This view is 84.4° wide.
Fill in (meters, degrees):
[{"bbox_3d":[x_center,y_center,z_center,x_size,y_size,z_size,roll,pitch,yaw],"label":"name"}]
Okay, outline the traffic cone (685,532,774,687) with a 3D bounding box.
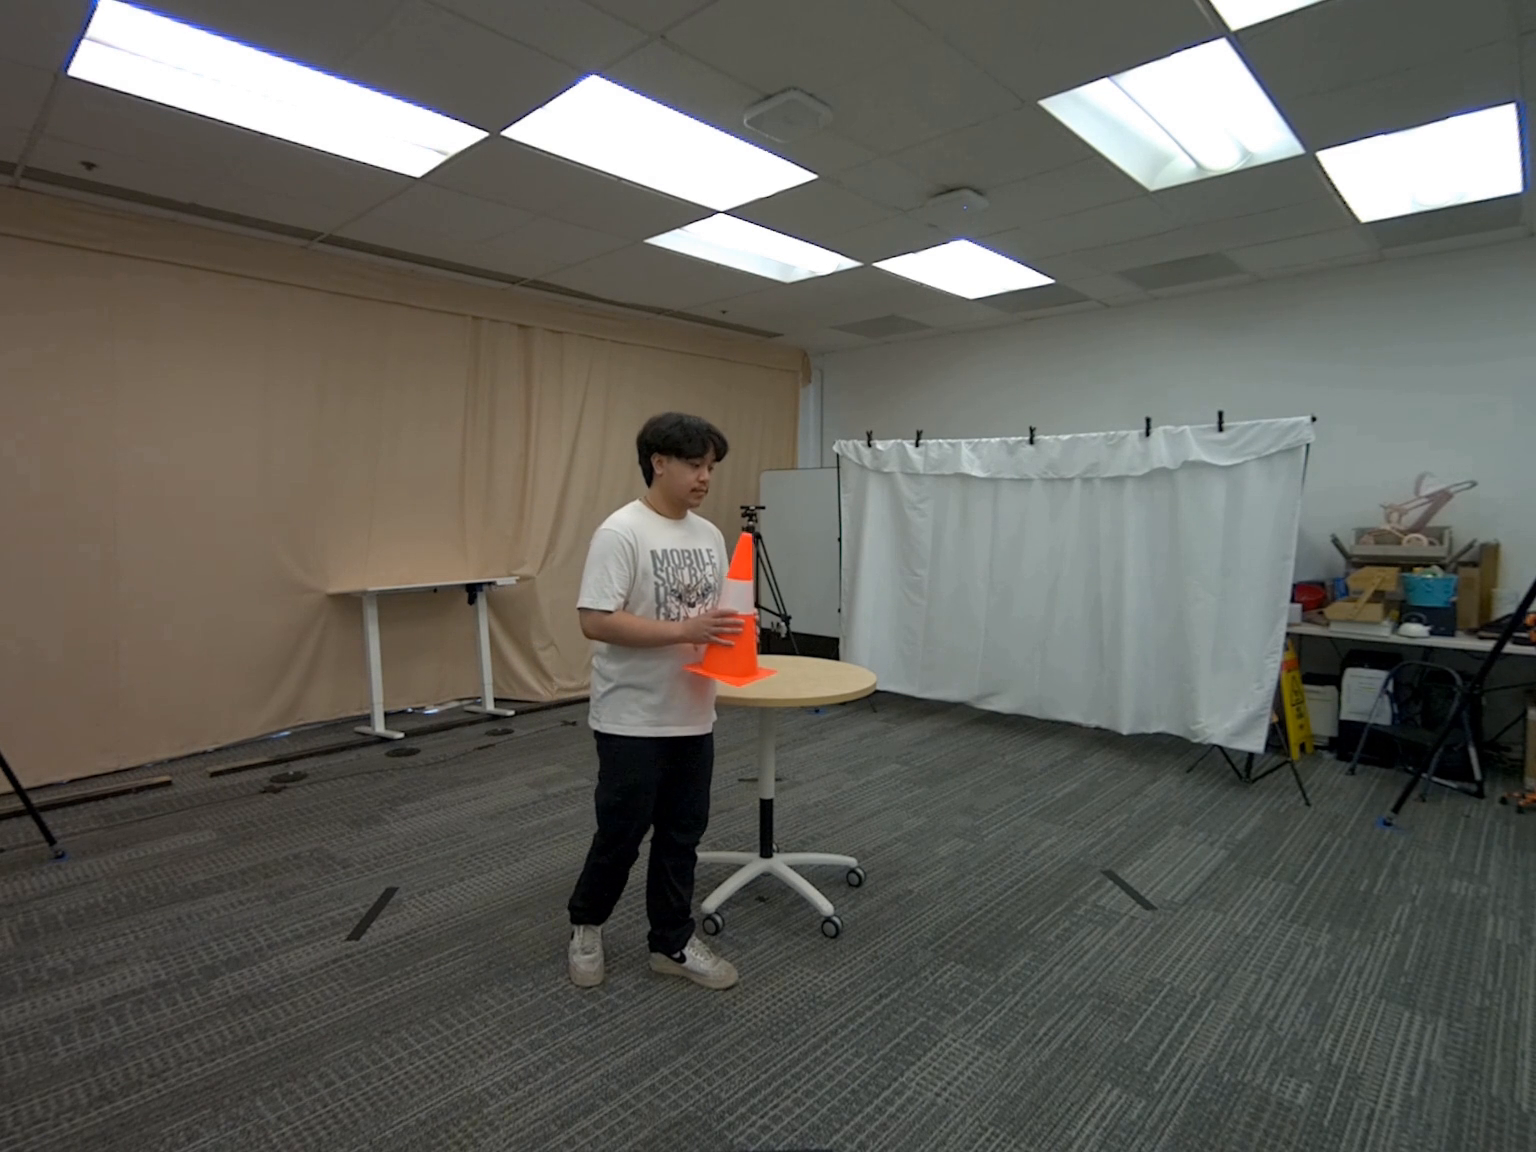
[{"bbox_3d":[-0.081,0.074,2.270,0.210,0.382,0.199,12,8,33],"label":"traffic cone"}]
